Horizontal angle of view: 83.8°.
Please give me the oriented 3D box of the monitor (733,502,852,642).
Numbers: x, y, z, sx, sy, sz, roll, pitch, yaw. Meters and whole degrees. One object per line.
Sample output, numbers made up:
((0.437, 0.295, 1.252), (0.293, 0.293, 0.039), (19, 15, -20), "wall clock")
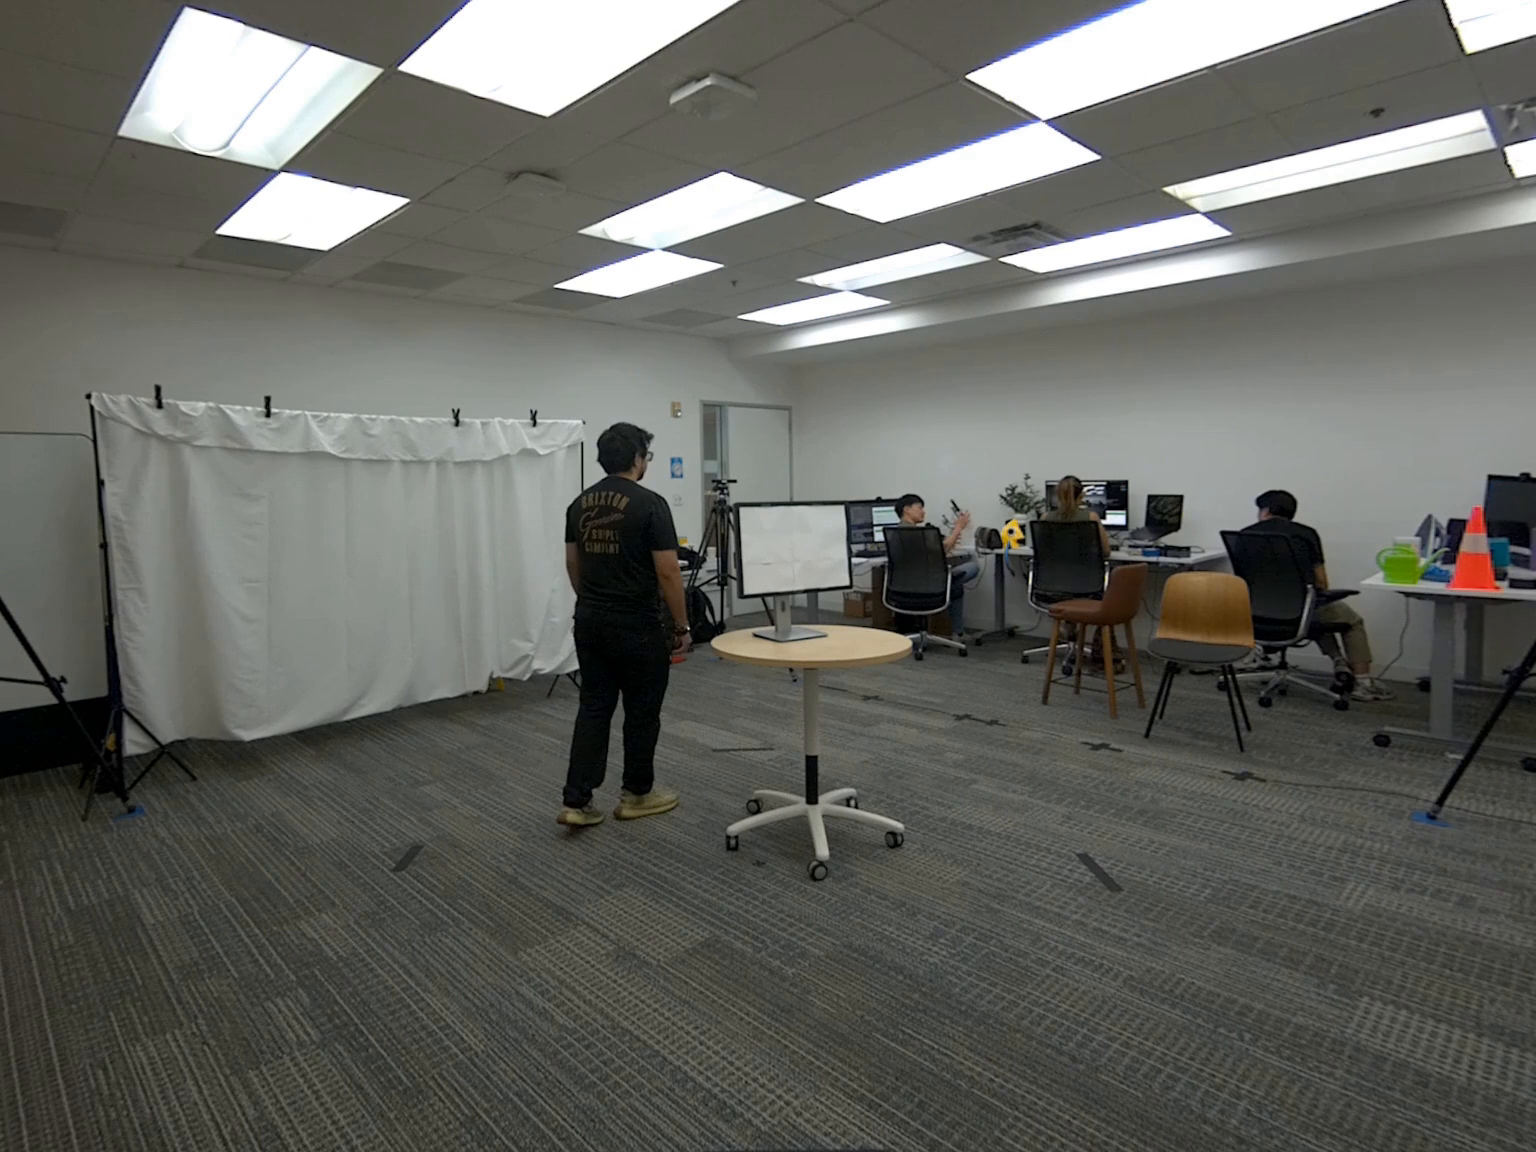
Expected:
((0.071, -0.024, 3.407), (0.551, 0.553, 0.216), (-3, 2, -34), "monitor")
